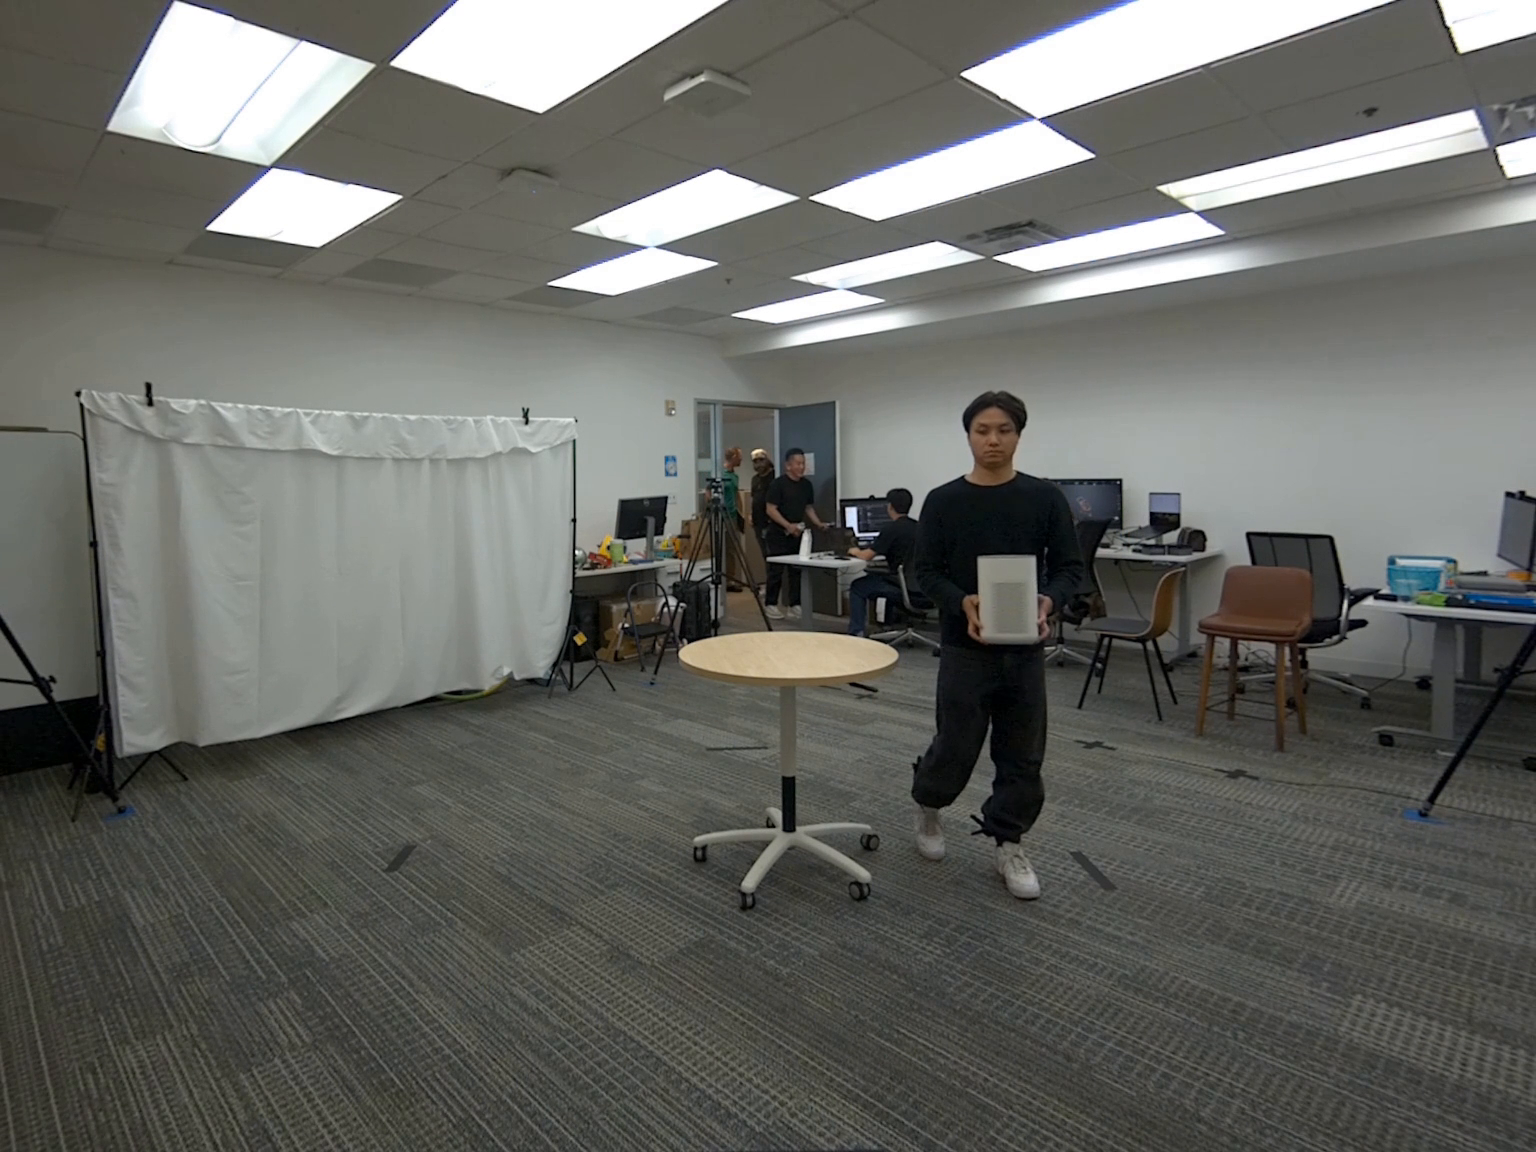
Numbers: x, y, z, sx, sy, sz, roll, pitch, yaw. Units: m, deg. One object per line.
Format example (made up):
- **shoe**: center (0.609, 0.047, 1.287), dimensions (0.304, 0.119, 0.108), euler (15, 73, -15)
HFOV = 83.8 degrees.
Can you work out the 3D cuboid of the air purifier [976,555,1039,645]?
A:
- **air purifier**: center (0.743, 0.071, 2.635), dimensions (0.173, 0.266, 0.169), euler (-1, -2, 9)
